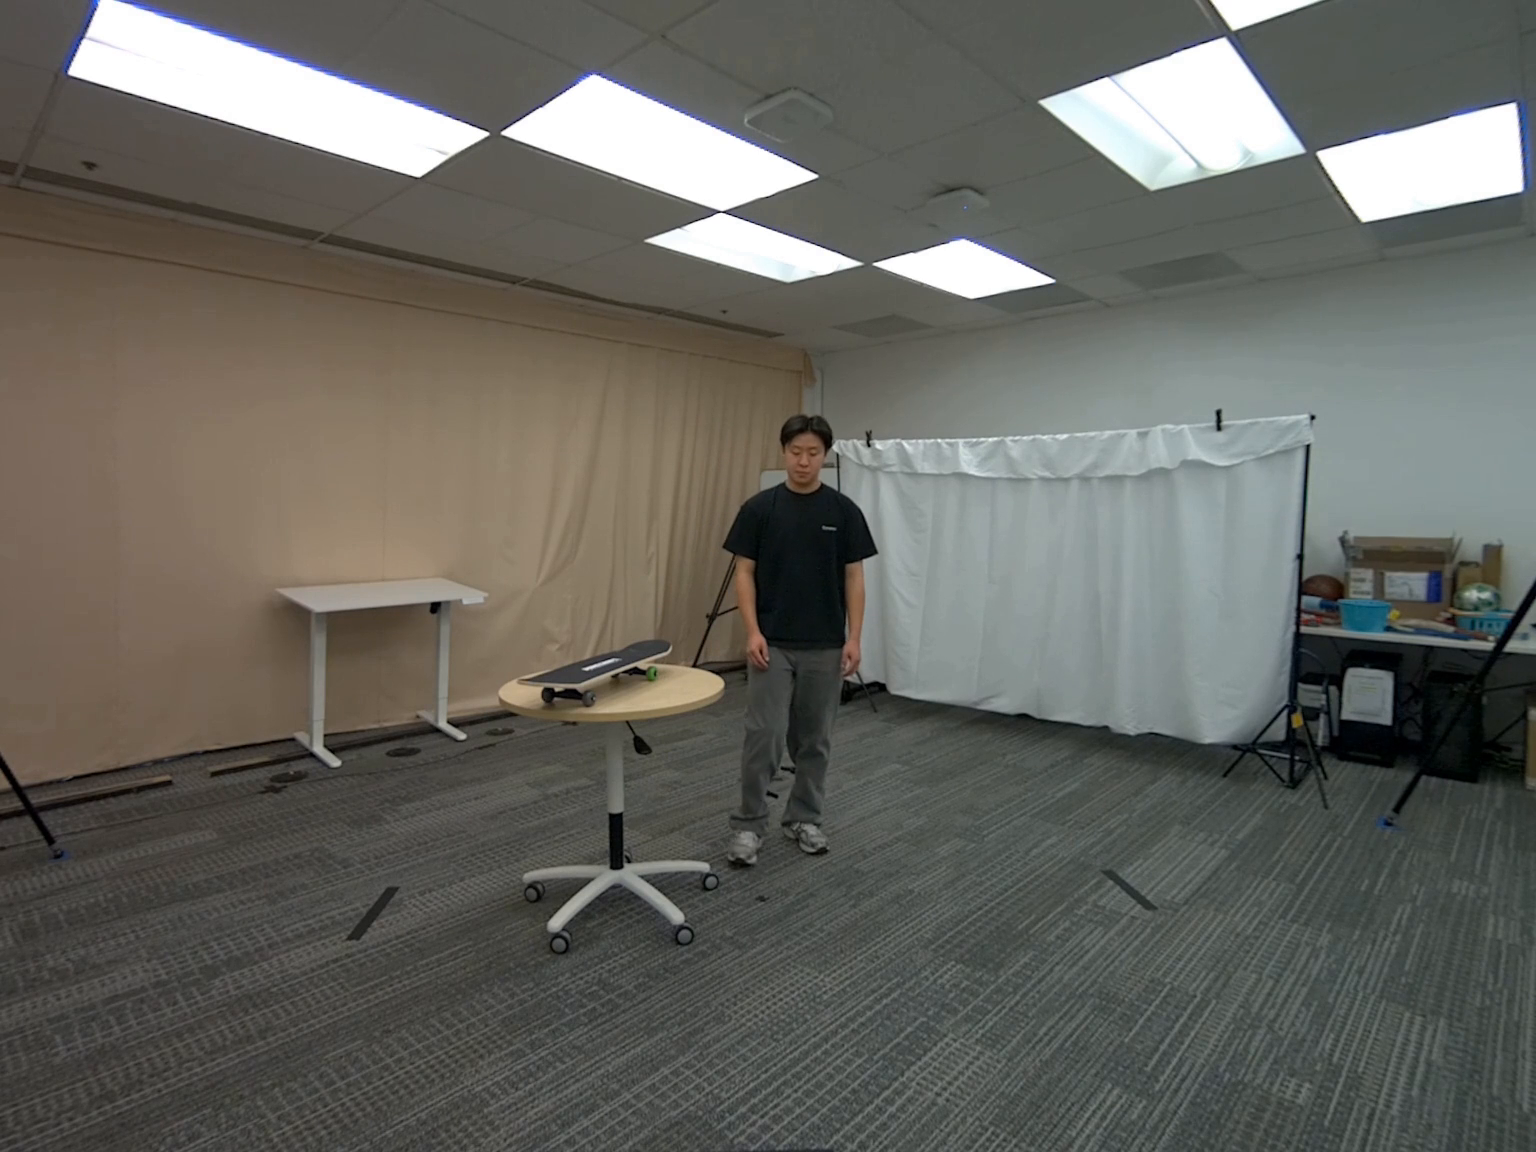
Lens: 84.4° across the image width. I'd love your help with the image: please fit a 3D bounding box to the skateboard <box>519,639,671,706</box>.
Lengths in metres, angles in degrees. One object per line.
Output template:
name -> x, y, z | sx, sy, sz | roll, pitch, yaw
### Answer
skateboard -> -0.553, 0.336, 2.798 | 0.198, 0.110, 0.768 | 0, 4, 23
